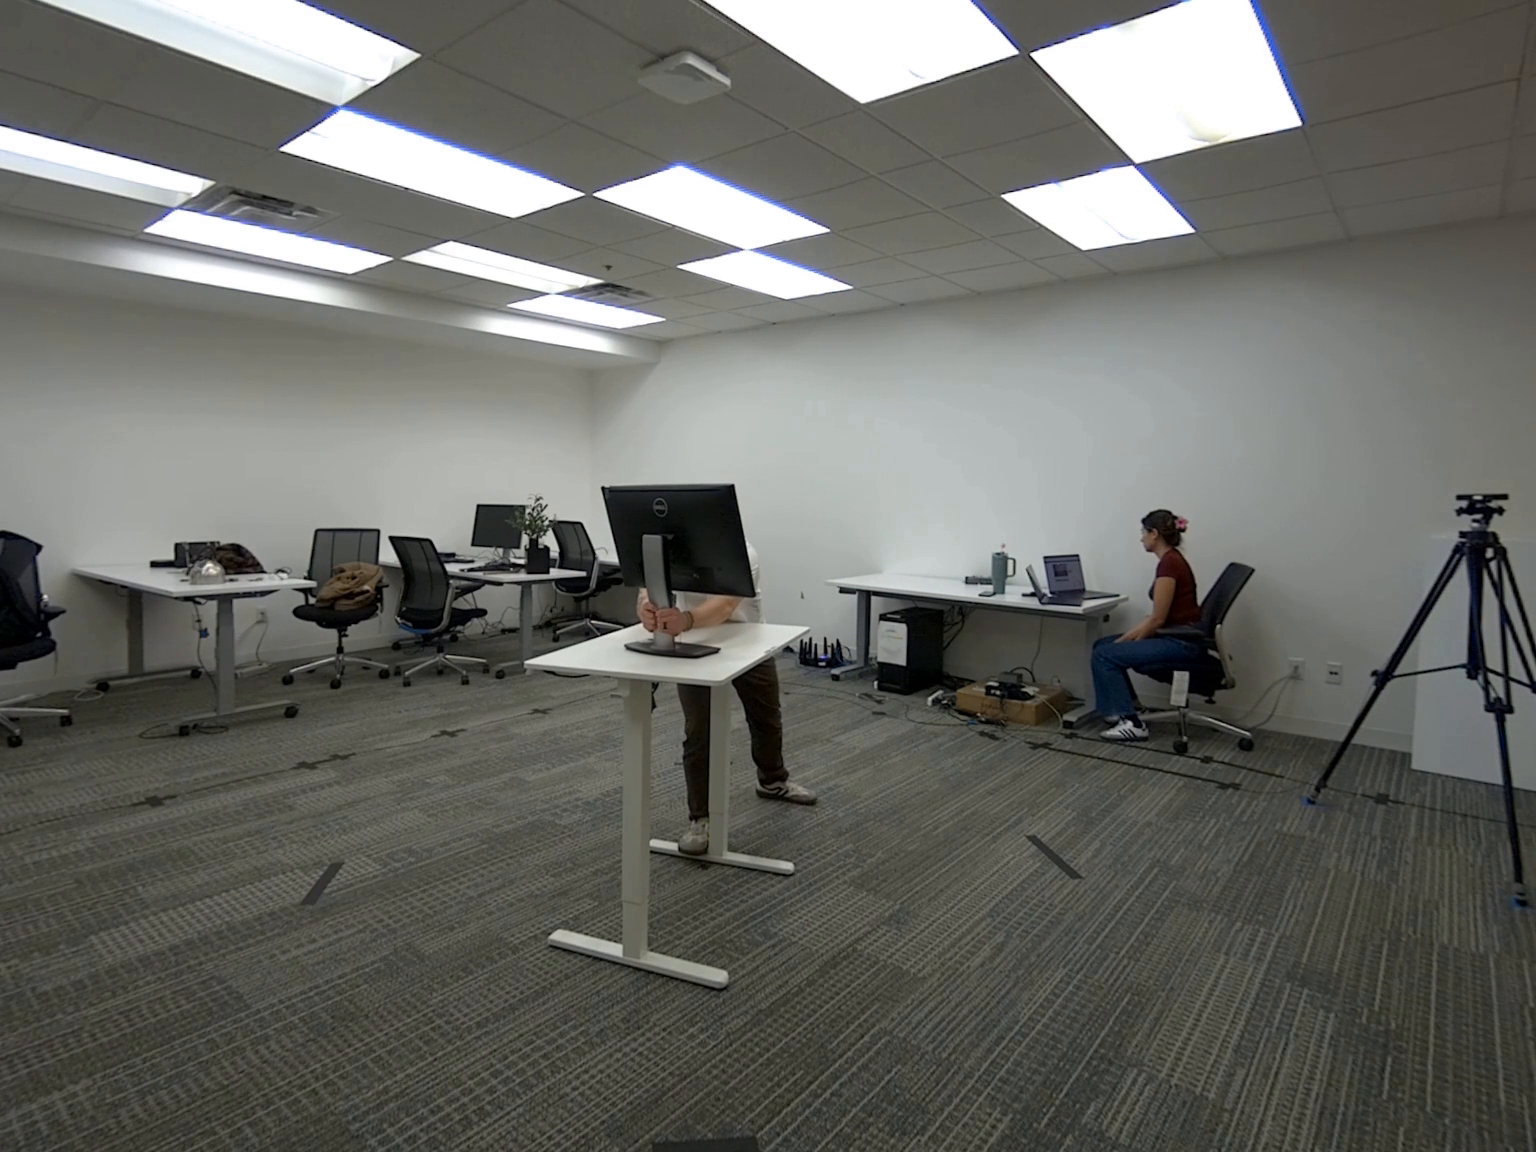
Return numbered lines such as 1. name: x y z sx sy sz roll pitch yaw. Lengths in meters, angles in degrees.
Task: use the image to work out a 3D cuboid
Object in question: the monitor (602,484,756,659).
1. monitor: -0.315 -0.024 2.615 0.556 0.520 0.182 2 7 35
